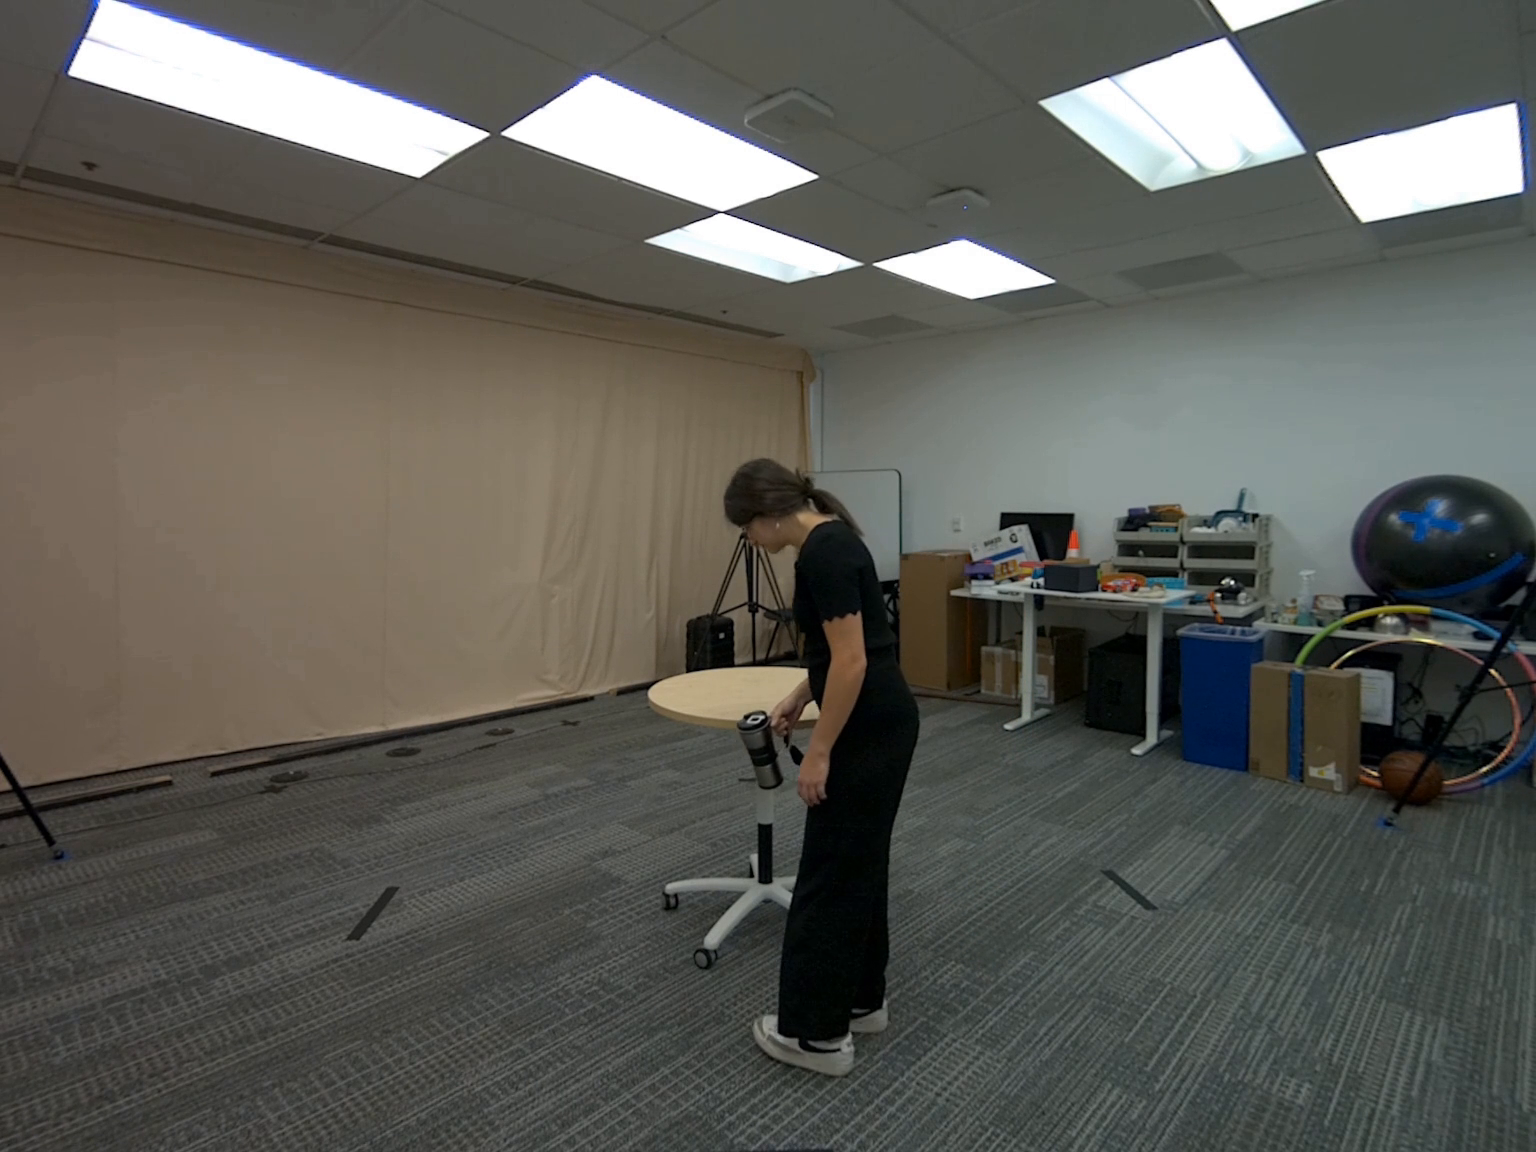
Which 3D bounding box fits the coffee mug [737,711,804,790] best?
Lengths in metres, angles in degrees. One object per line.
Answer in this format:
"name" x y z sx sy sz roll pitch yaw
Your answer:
"coffee mug" 0.007 0.479 2.248 0.125 0.201 0.086 -6 16 42
